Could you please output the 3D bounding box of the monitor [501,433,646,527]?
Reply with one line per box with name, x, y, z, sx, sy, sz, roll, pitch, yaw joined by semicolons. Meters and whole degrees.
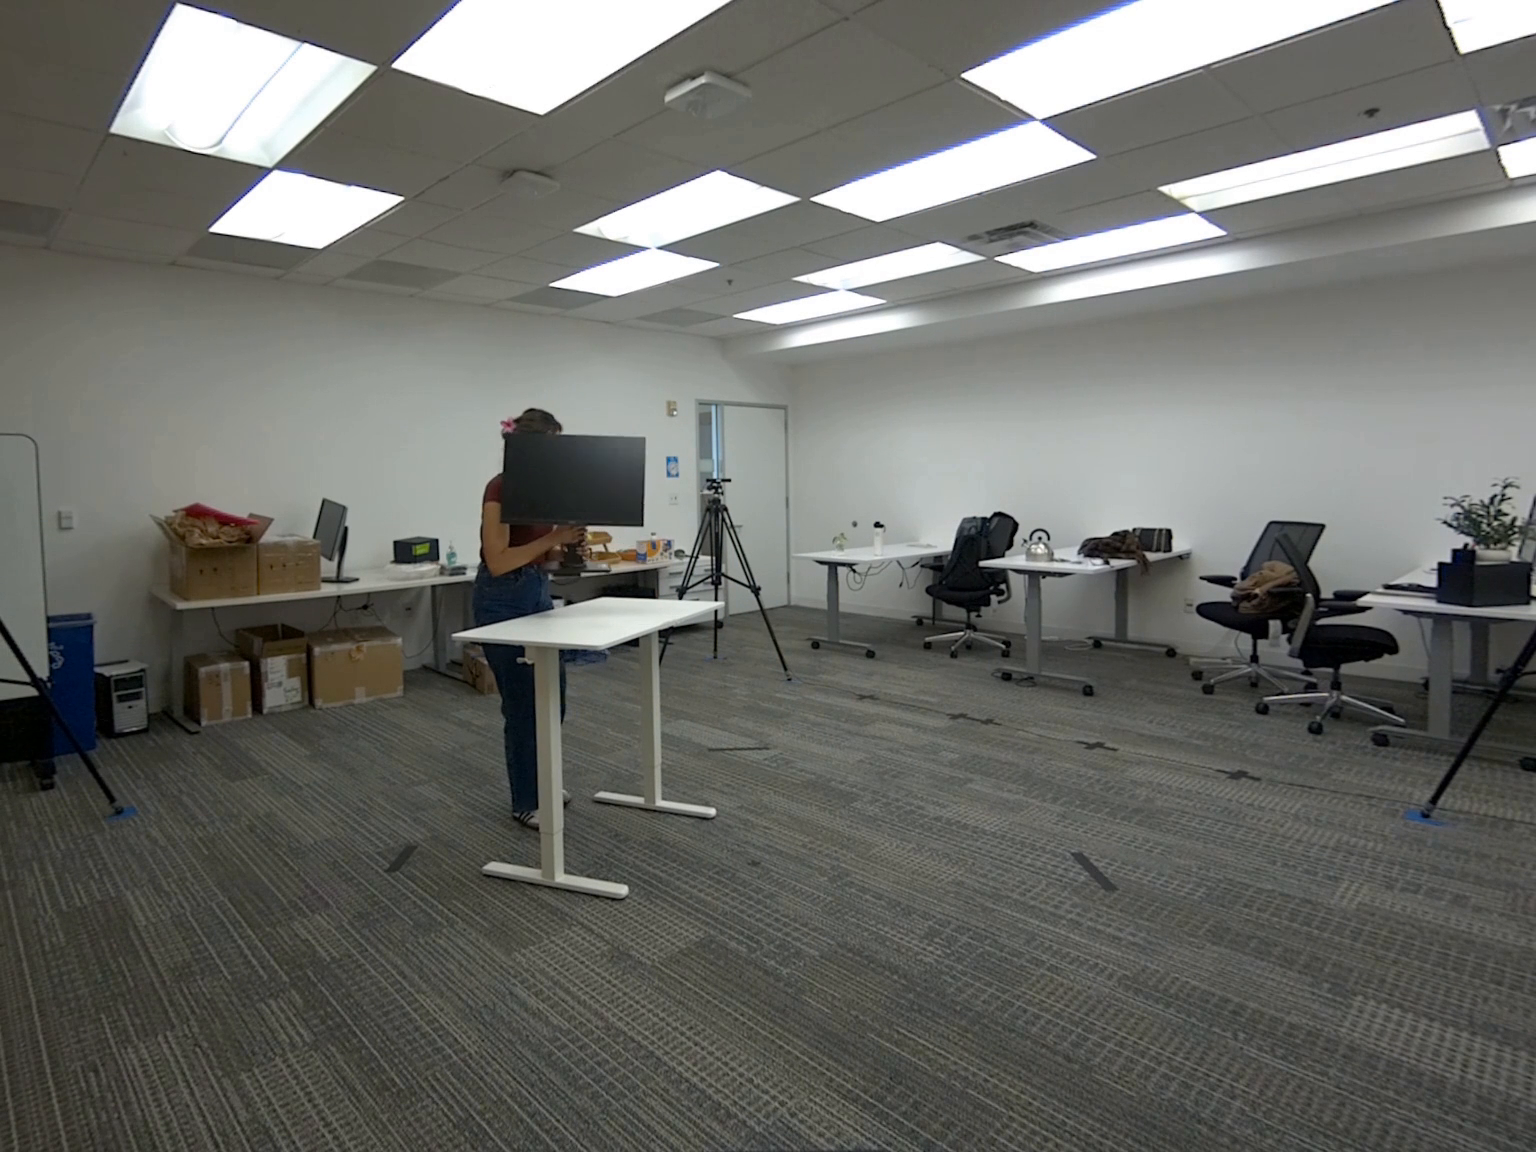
monitor;-0.746;-0.278;3.279;0.535;0.521;0.189;1;3;-6
